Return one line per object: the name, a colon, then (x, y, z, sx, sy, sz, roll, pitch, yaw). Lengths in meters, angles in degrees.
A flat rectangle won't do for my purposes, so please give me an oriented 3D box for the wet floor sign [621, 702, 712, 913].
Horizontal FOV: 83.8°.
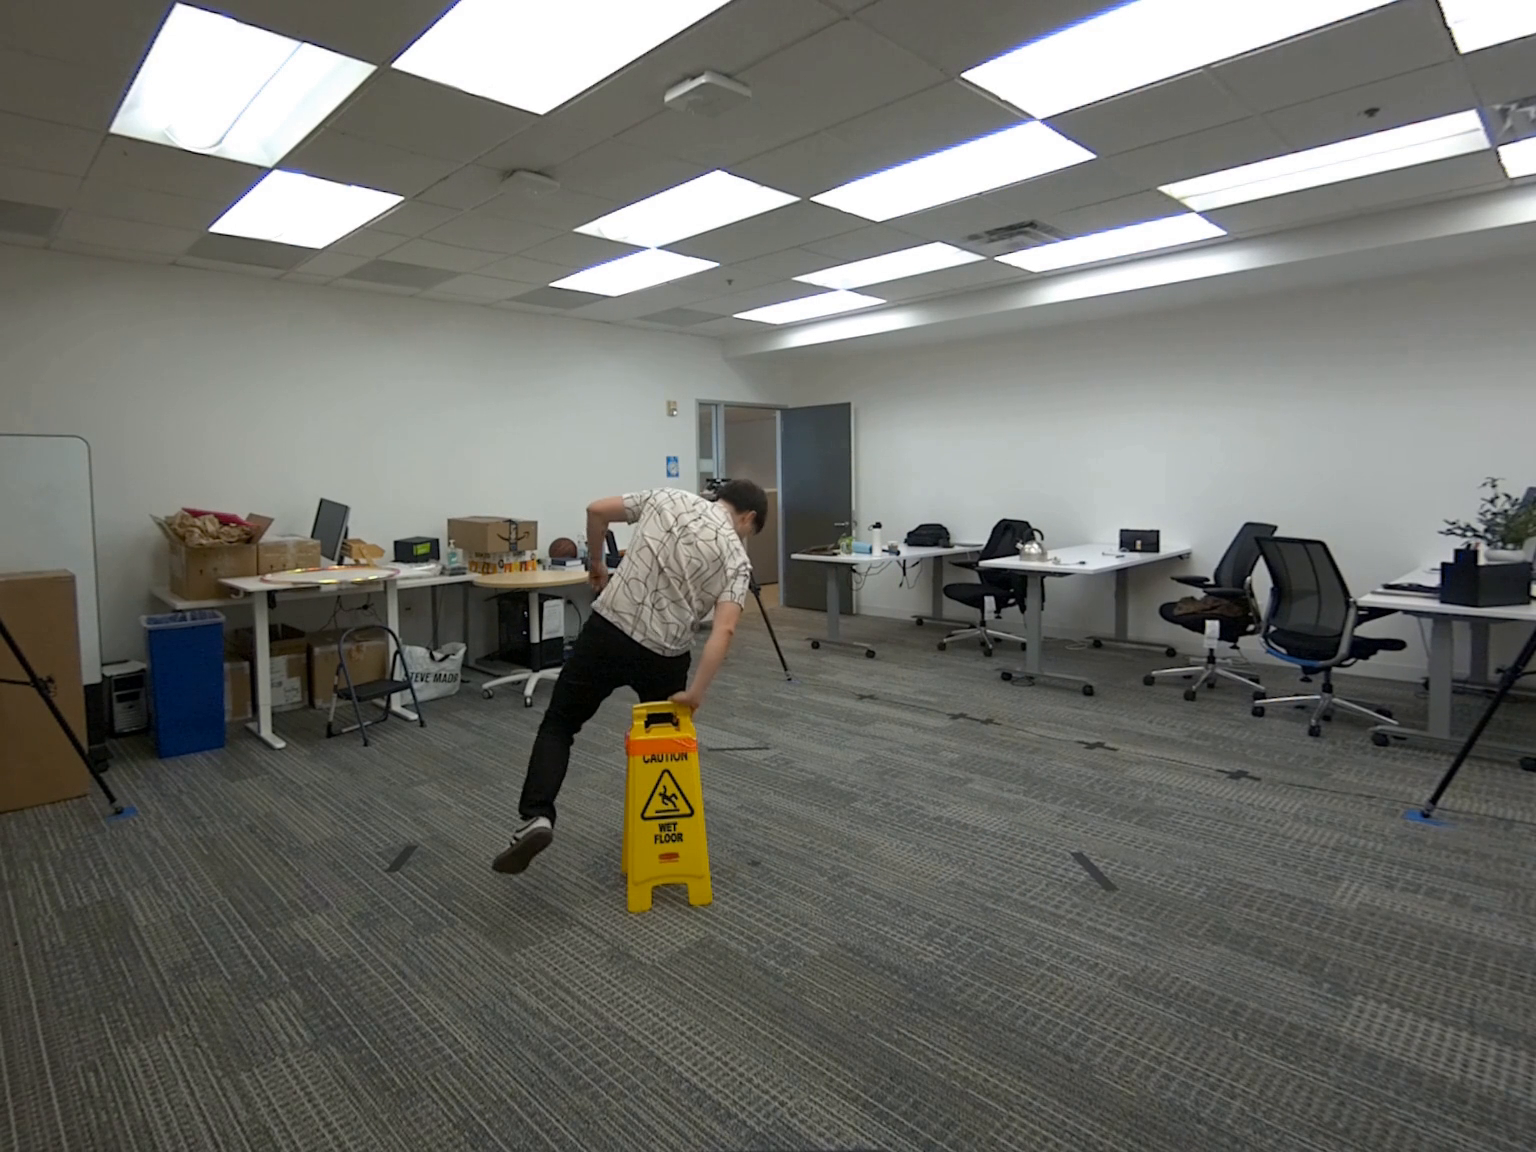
wet floor sign: (-0.356, 0.747, 2.912, 0.279, 0.643, 0.294, -3, 5, -12)
